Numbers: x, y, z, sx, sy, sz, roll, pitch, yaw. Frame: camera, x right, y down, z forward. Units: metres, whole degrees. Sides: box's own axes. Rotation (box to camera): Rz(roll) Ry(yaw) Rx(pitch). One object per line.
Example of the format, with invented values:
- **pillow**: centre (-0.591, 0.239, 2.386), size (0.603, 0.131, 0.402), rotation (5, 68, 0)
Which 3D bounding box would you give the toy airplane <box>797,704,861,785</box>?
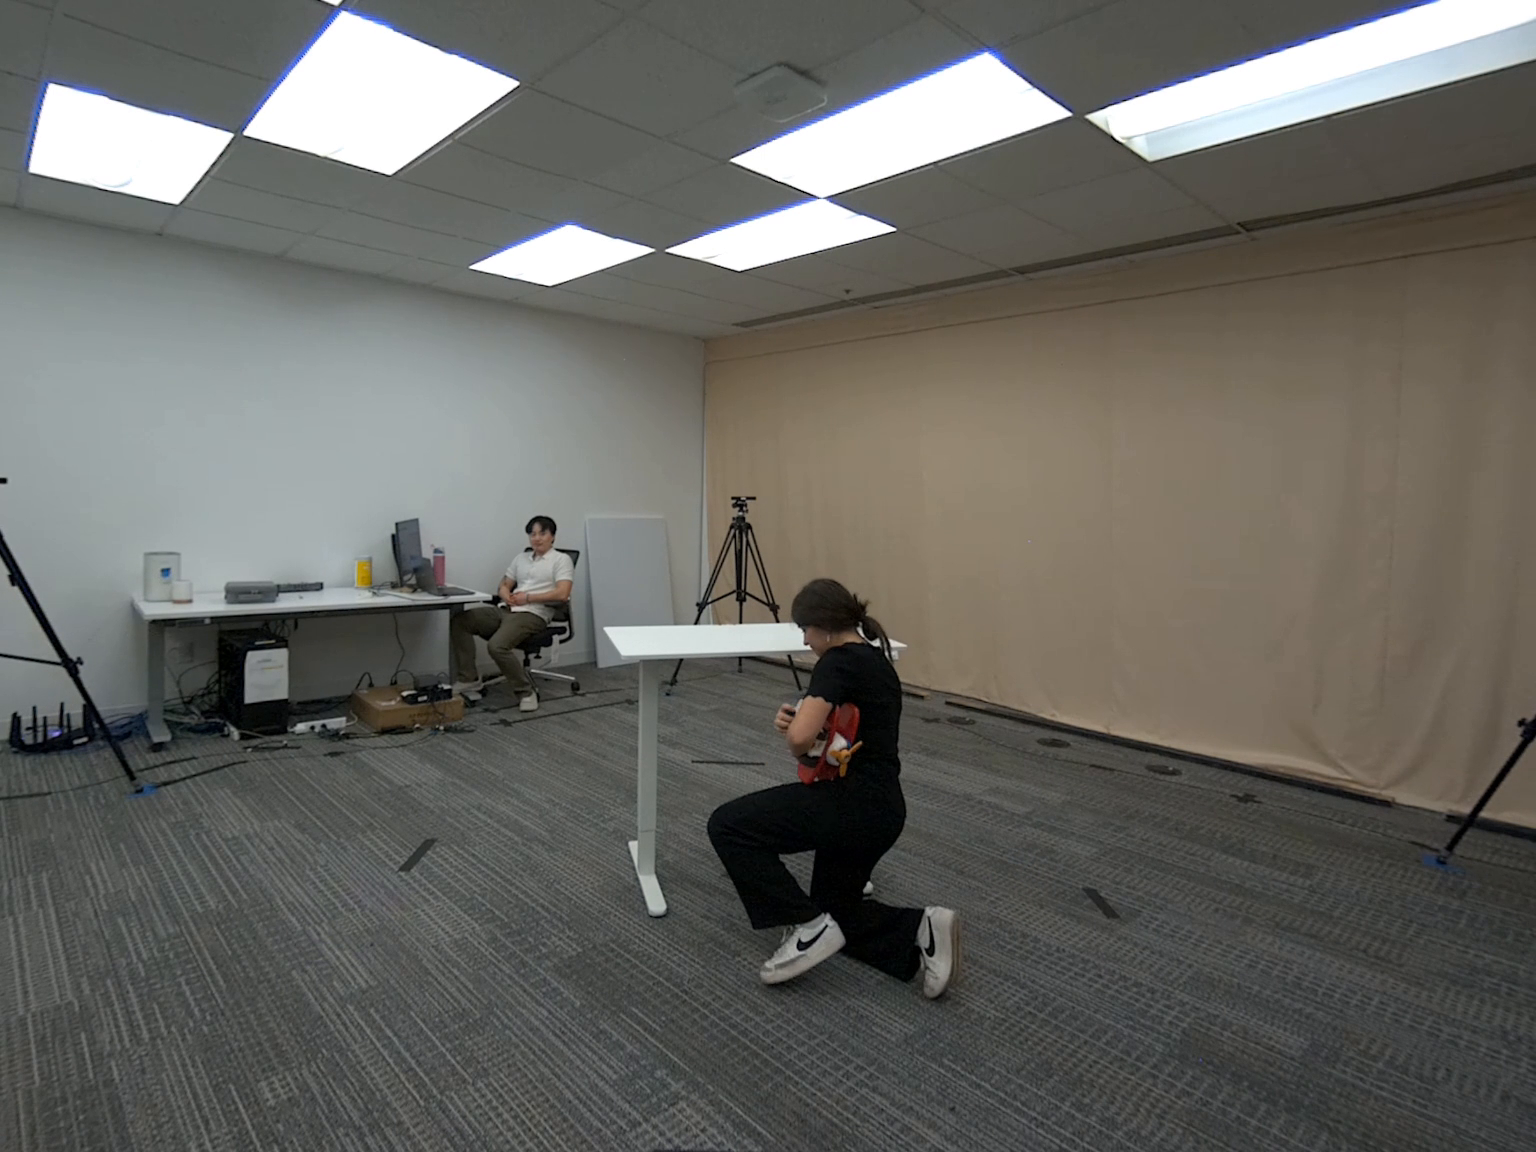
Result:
- **toy airplane**: centre (0.140, 0.462, 2.486), size (0.153, 0.250, 0.266), rotation (21, 36, -24)
